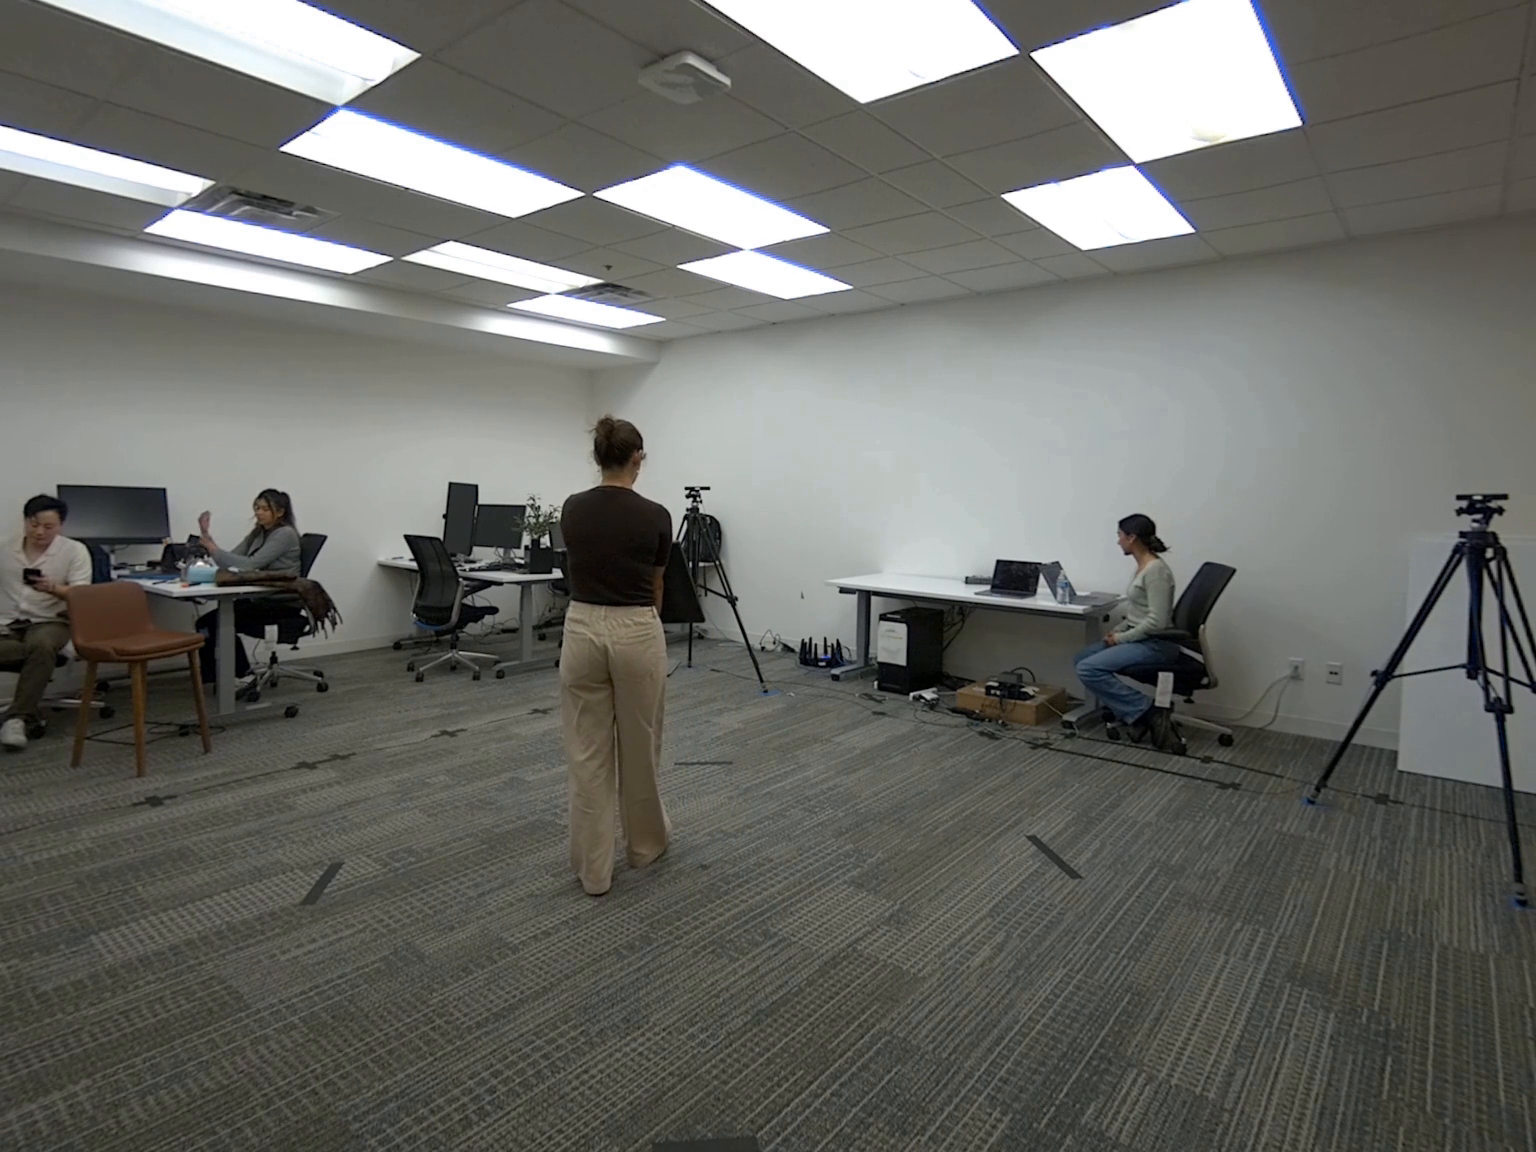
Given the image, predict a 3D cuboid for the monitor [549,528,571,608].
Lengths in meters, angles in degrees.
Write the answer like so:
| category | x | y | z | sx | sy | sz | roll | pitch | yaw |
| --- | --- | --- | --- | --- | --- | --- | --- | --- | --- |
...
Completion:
| category | x | y | z | sx | sy | sz | roll | pitch | yaw |
| --- | --- | --- | --- | --- | --- | --- | --- | --- | --- |
| monitor | -0.535 | 0.122 | 3.196 | 0.548 | 0.514 | 0.187 | -4 | 15 | 18 |
